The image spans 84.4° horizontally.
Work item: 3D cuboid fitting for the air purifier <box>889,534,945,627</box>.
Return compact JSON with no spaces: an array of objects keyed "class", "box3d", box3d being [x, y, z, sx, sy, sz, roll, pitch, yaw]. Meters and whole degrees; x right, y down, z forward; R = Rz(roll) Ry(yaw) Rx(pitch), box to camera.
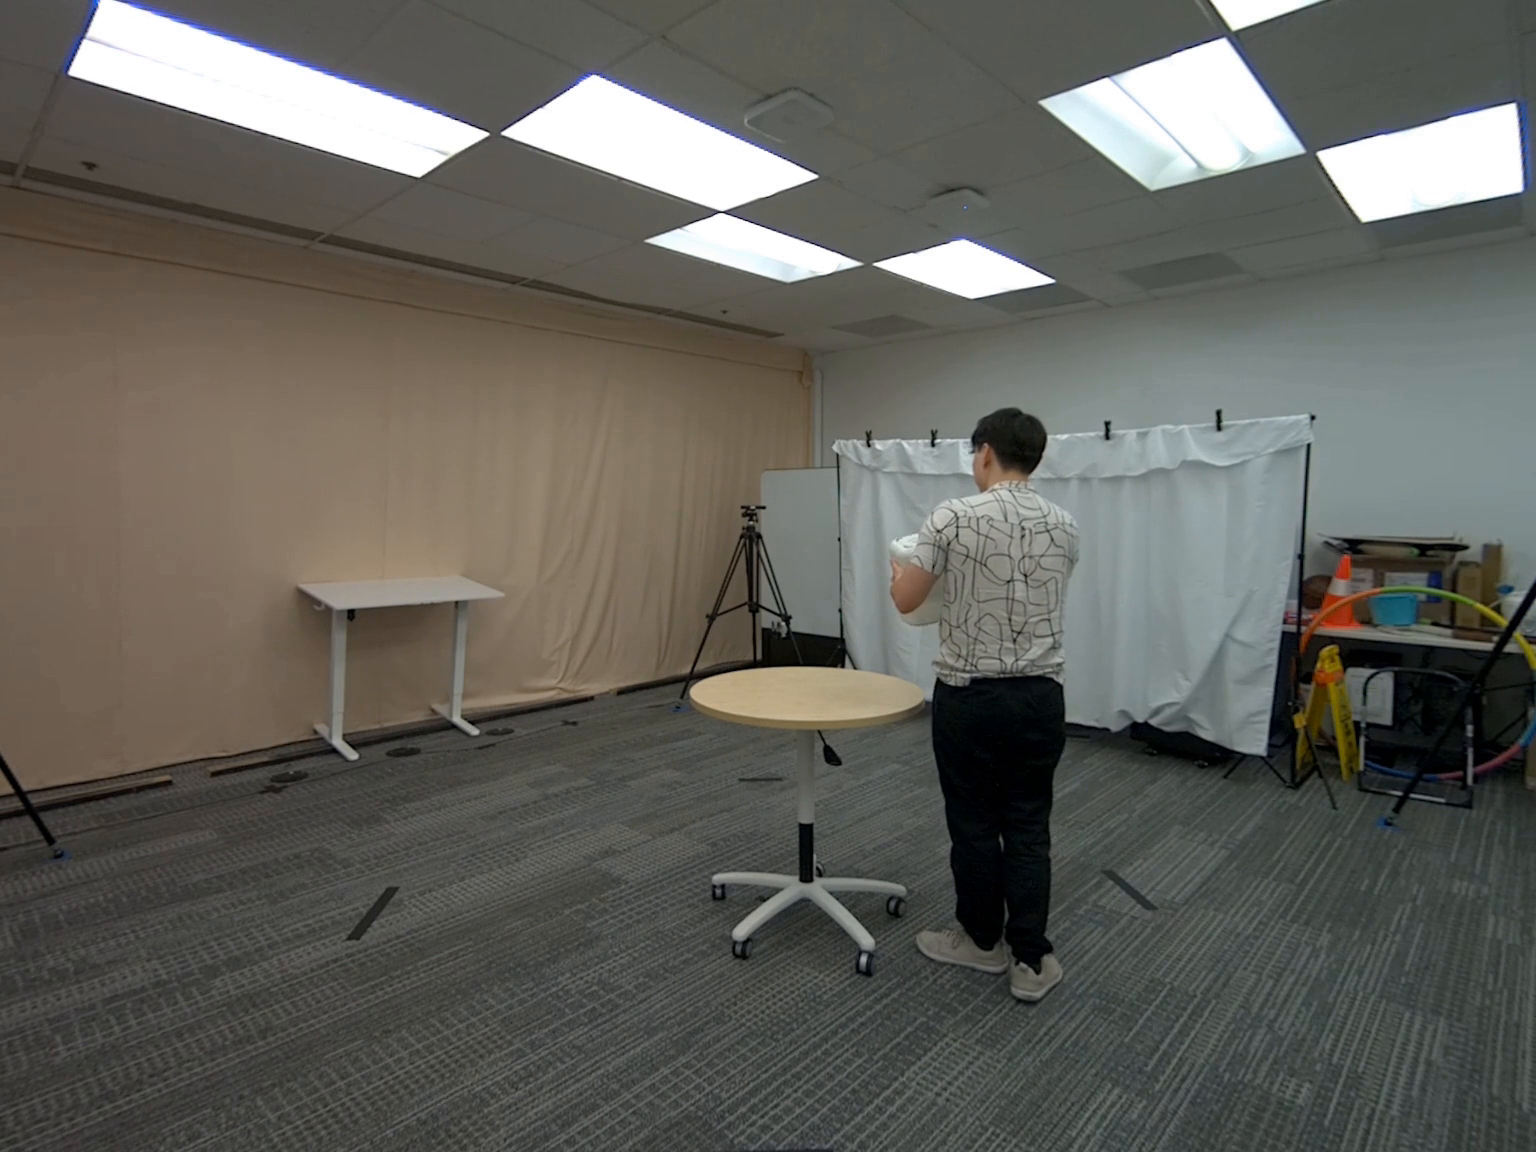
[{"class":"air purifier","box3d":[0.521,0.004,2.787,0.171,0.262,0.174,-11,15,-4]}]
